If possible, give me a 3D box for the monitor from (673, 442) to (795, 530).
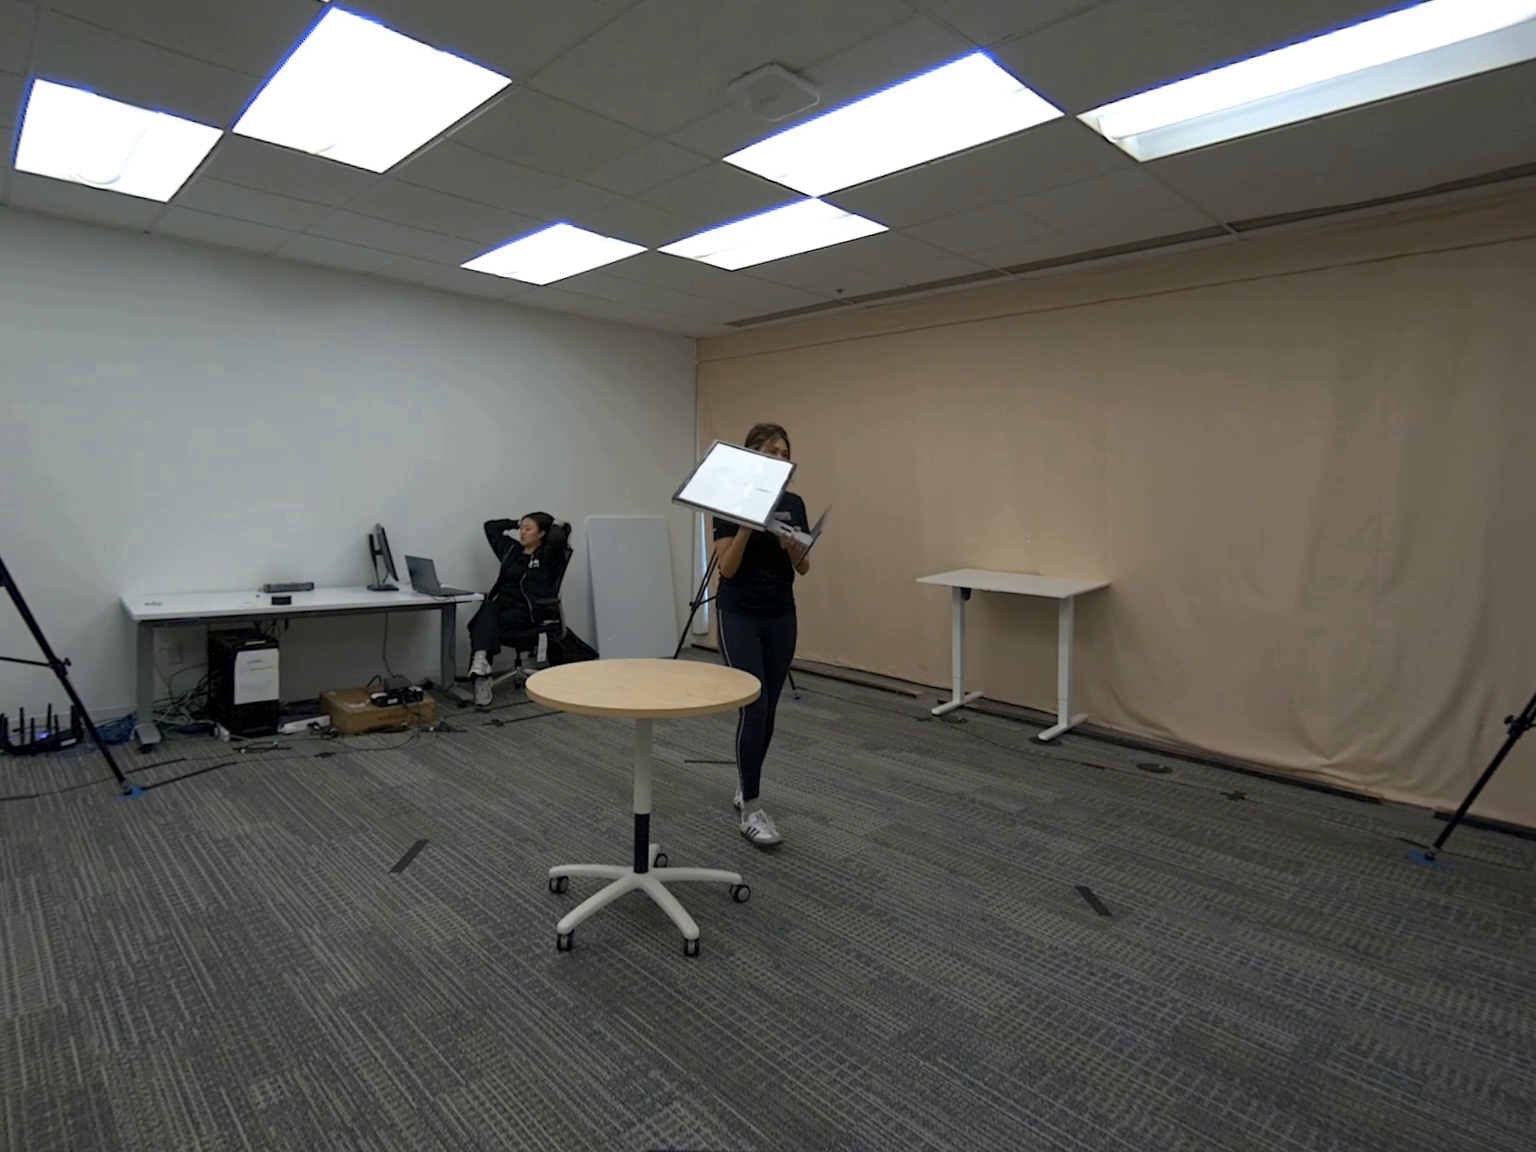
[{"bbox_3d":[-0.059,-0.295,3.289,0.522,0.186,0.543,29,32,-1],"label":"monitor"}]
